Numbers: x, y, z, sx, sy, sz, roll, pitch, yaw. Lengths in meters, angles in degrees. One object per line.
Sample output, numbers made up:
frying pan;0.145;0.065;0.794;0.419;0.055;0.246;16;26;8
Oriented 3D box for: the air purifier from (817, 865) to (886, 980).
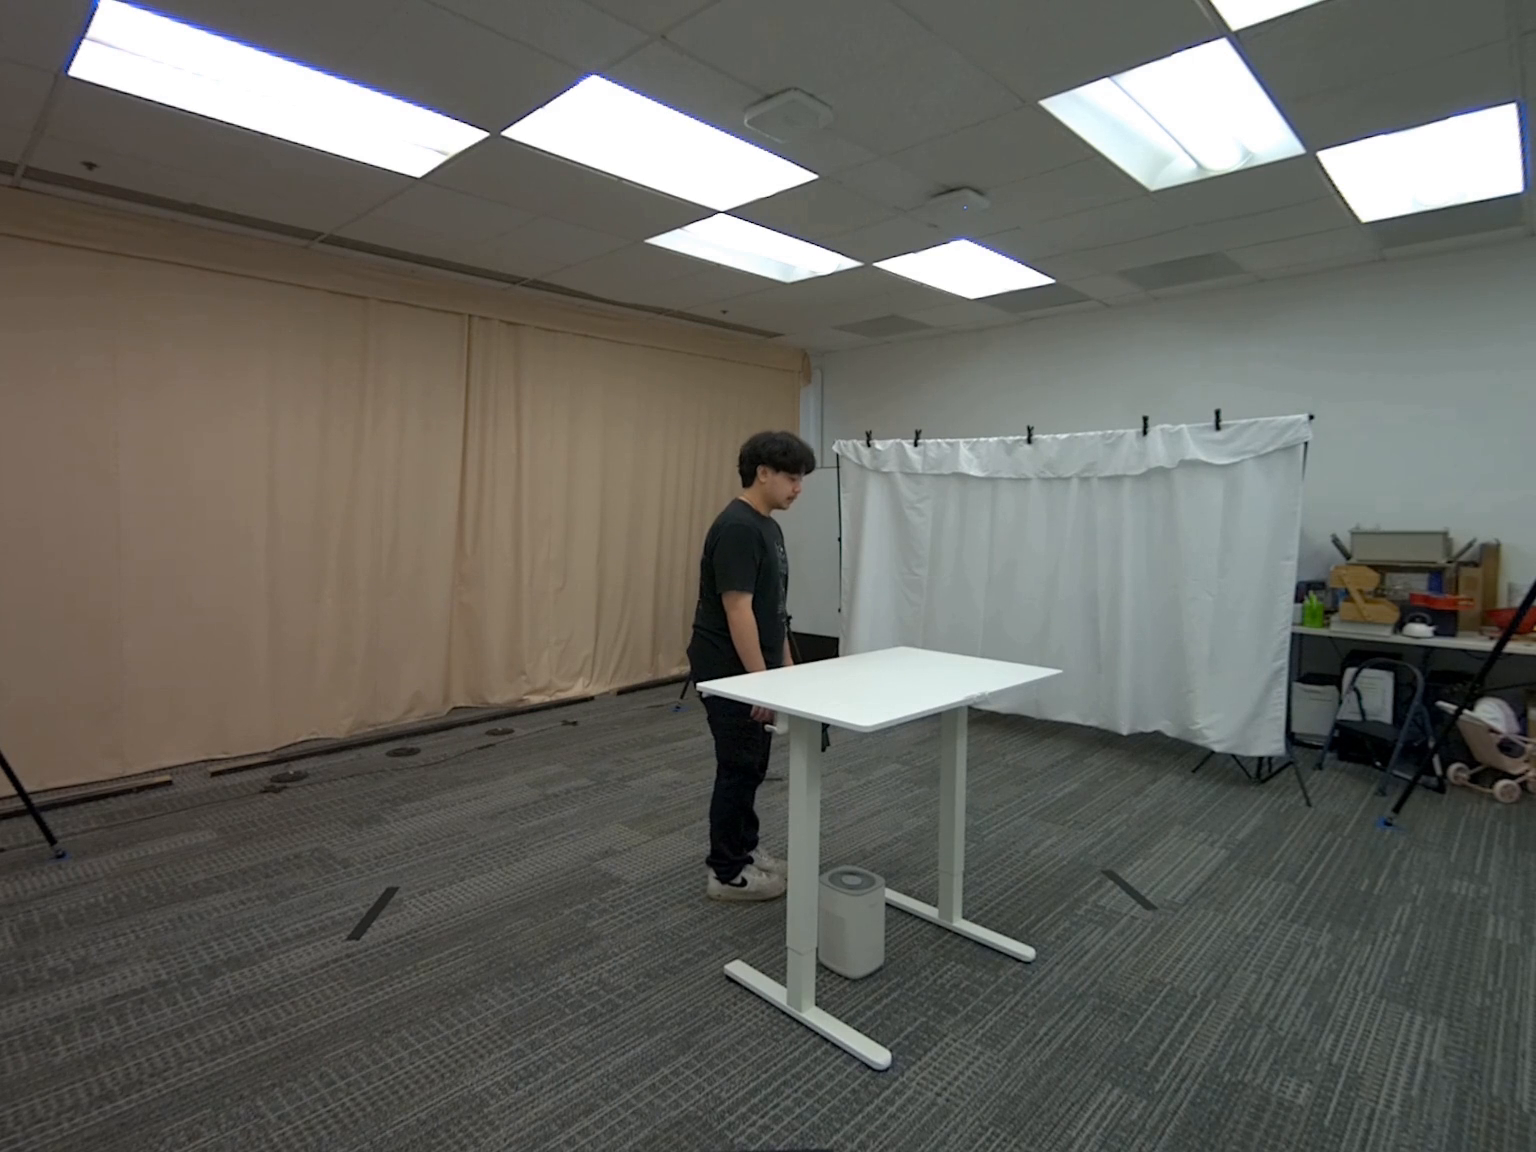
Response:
air purifier;0.257;1.045;2.545;0.166;0.265;0.177;-2;5;-45
